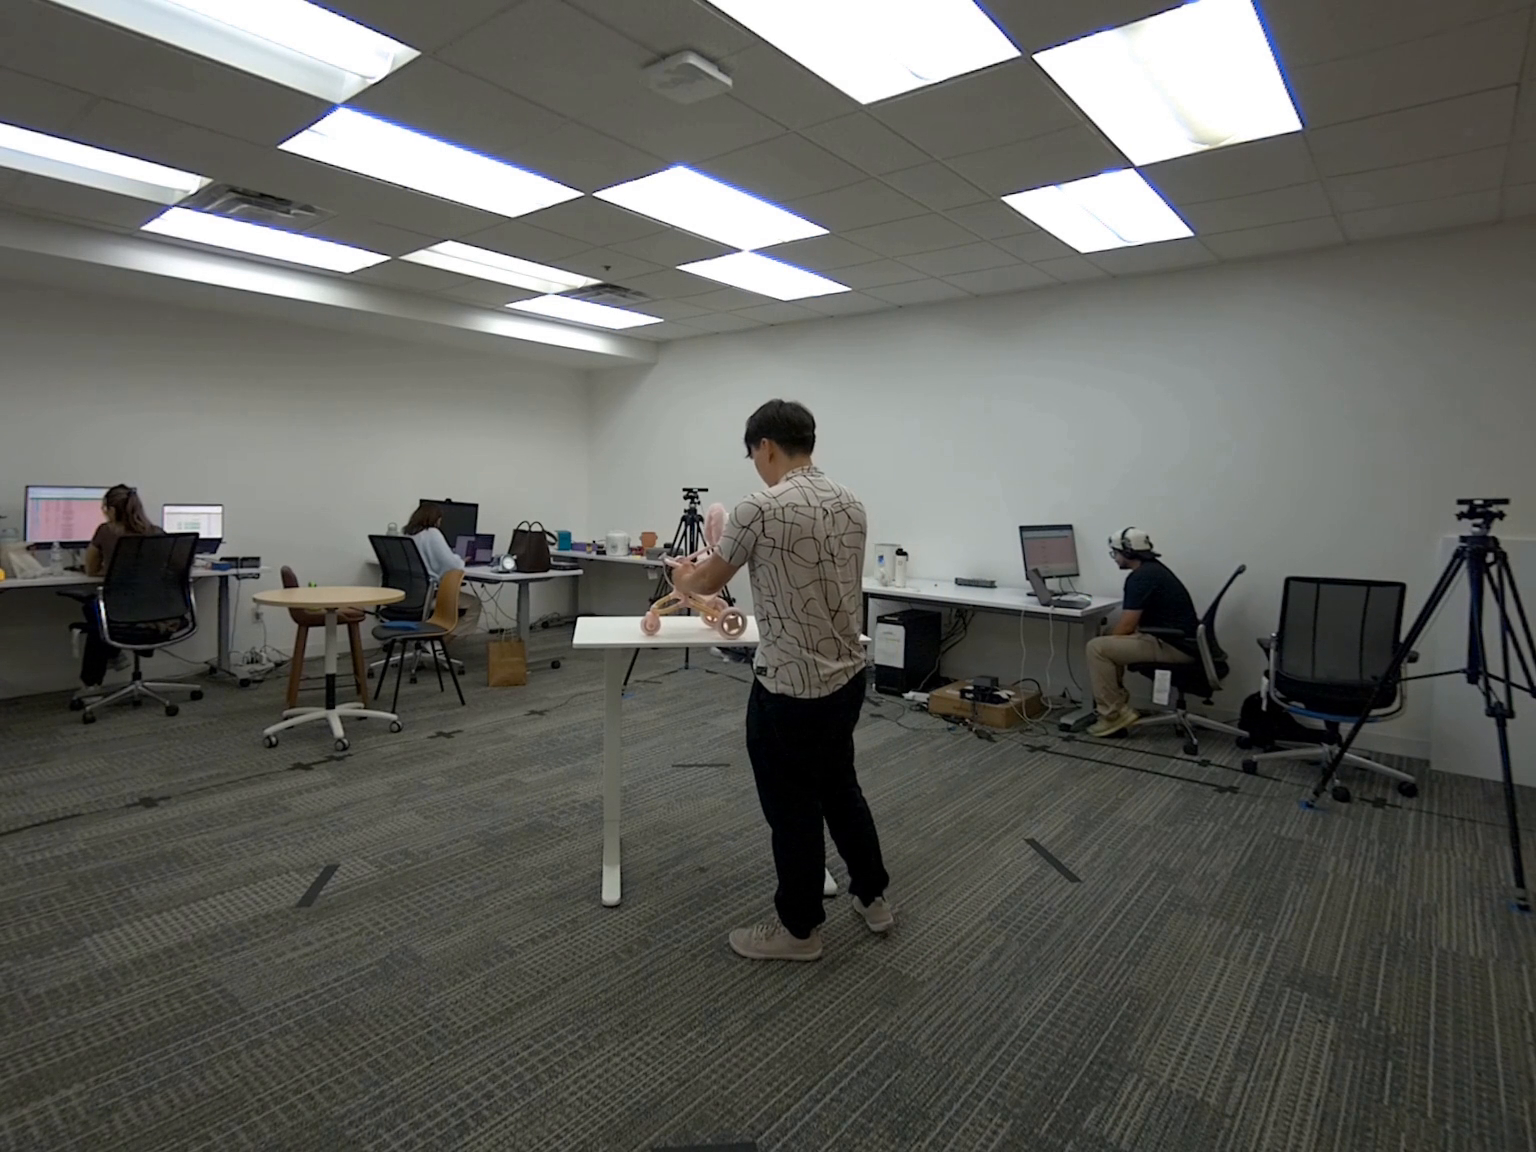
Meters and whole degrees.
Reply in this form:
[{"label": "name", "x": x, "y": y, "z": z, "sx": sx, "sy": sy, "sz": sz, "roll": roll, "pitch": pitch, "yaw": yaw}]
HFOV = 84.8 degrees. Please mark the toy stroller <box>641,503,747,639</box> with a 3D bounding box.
[{"label": "toy stroller", "x": -0.216, "y": -0.017, "z": 2.958, "sx": 0.337, "sy": 0.534, "sz": 0.285, "roll": 18, "pitch": 2, "yaw": -10}]
